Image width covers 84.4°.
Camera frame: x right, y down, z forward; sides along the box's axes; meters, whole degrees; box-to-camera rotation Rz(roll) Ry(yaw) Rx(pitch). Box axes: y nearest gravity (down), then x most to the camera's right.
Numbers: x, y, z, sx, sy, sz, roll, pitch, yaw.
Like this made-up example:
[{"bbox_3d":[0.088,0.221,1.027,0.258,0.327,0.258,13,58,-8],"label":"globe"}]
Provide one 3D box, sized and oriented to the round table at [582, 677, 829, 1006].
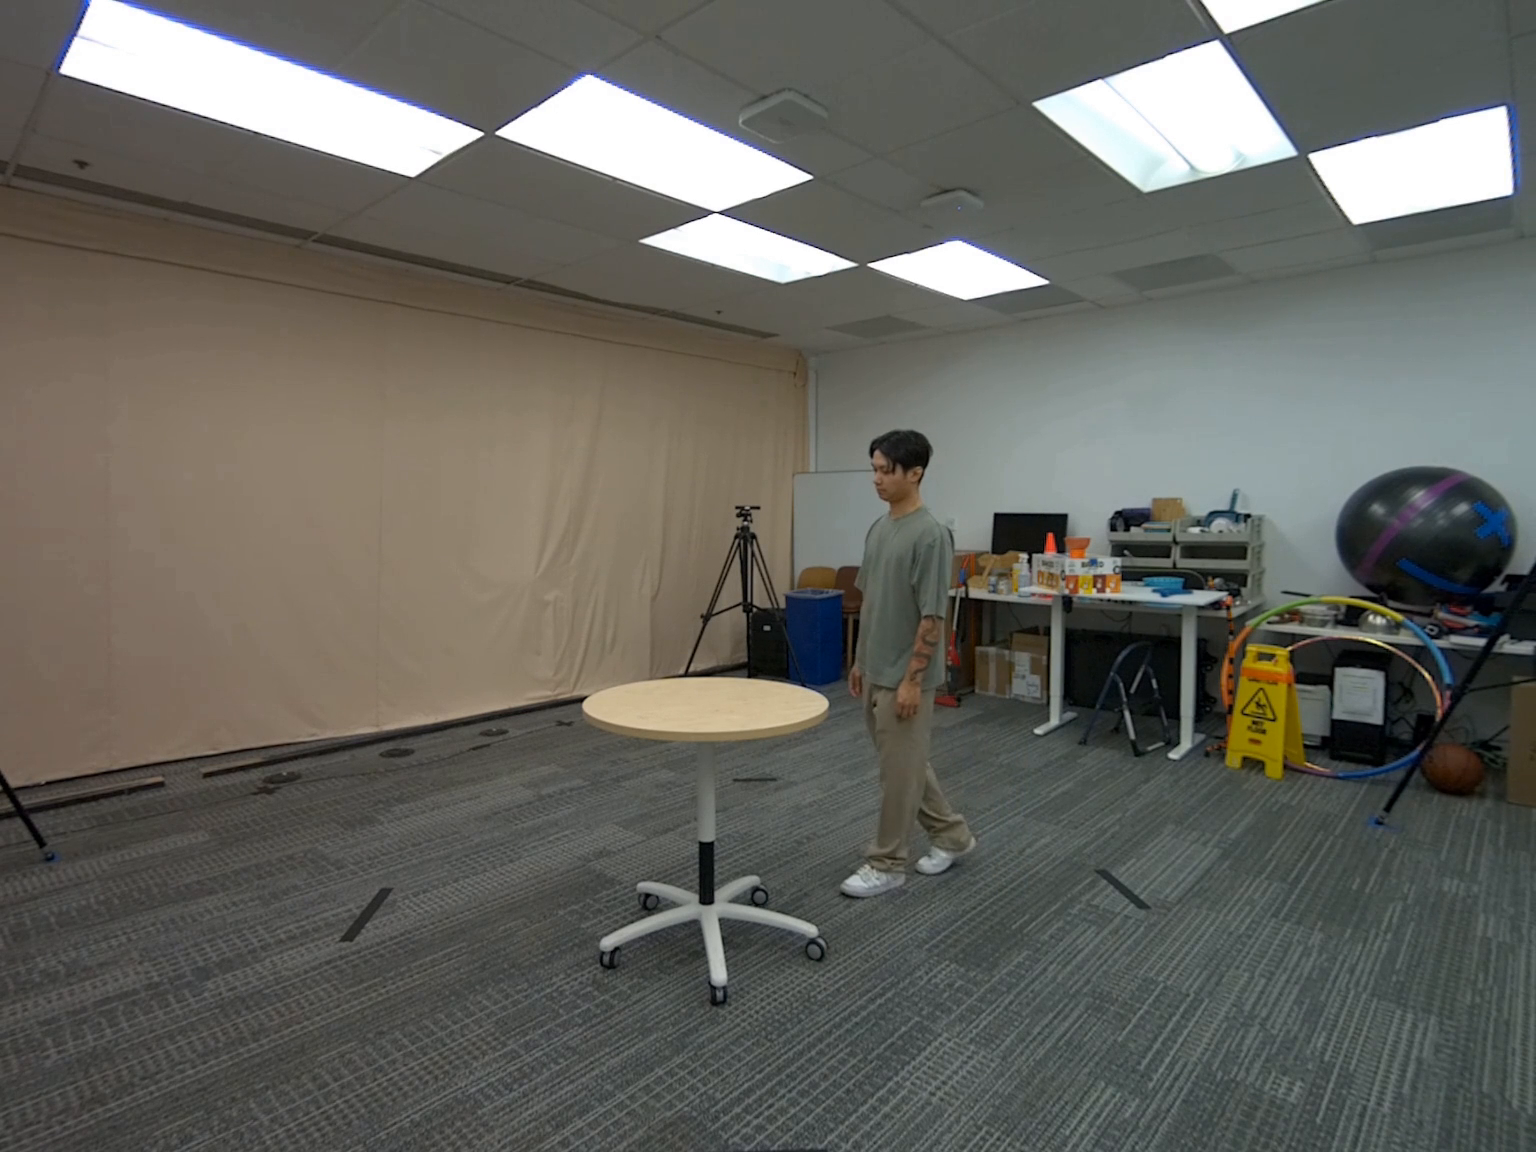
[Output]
[{"bbox_3d":[-0.190,0.787,2.645,0.763,0.792,0.766,0,4,-2],"label":"round table"}]
